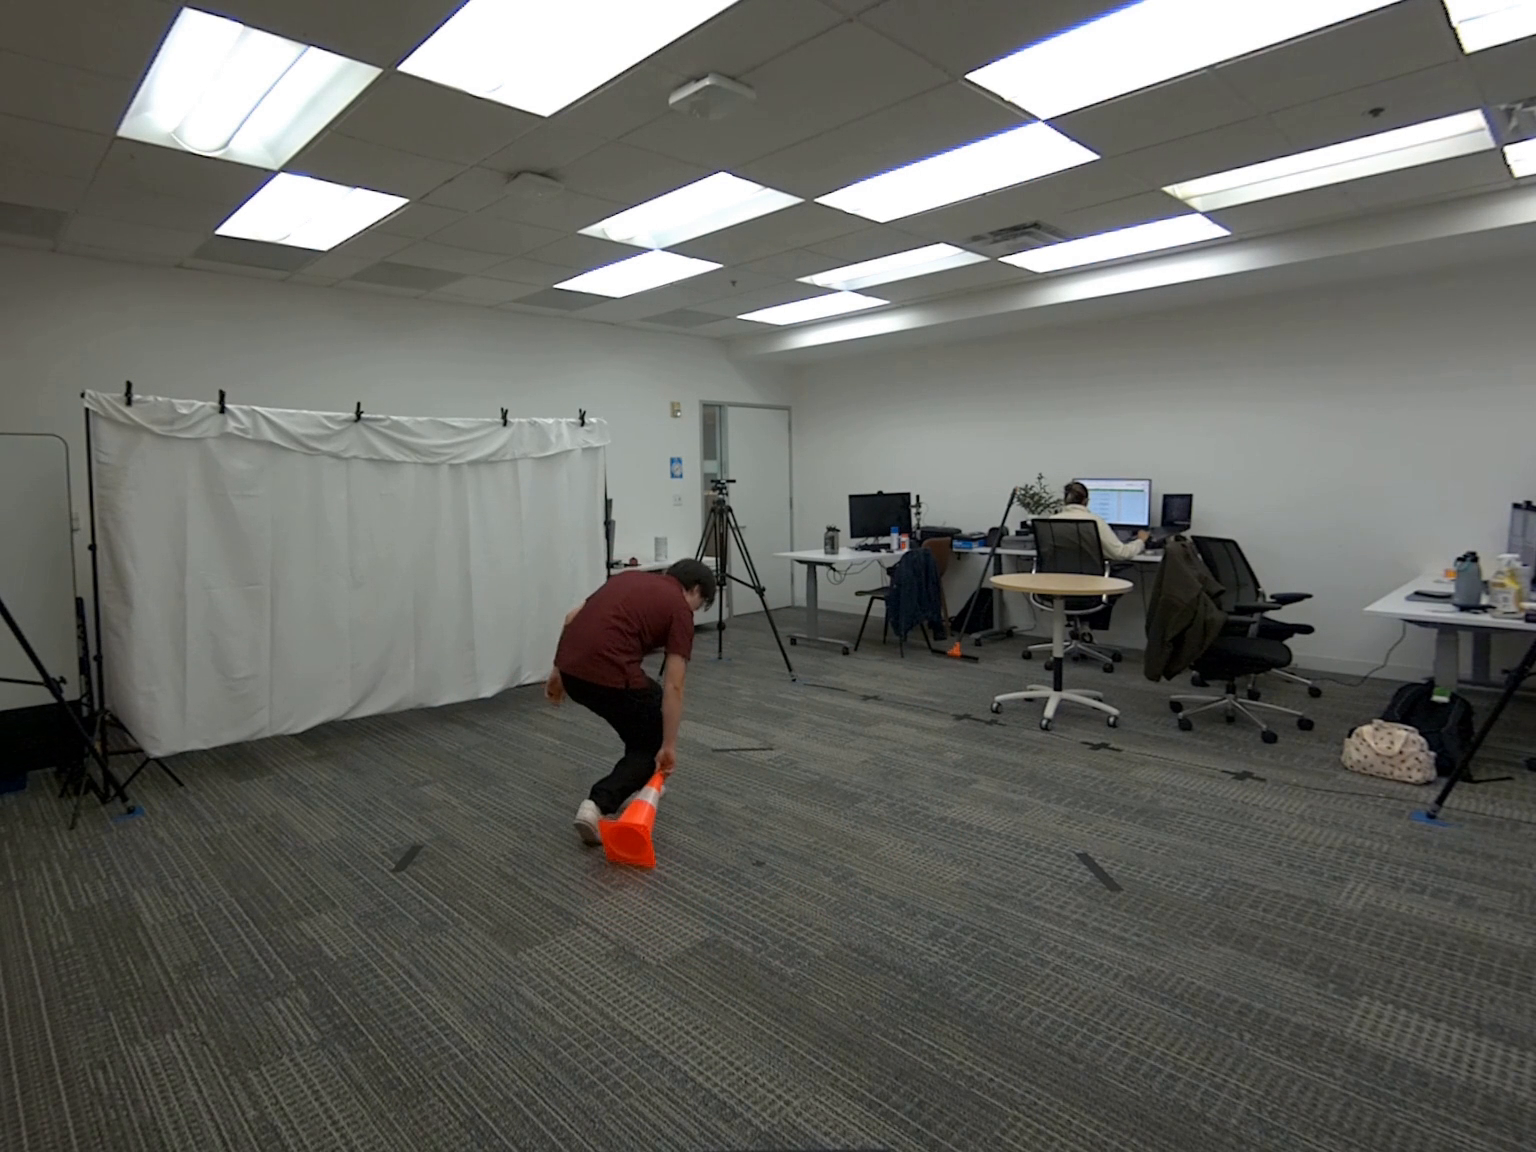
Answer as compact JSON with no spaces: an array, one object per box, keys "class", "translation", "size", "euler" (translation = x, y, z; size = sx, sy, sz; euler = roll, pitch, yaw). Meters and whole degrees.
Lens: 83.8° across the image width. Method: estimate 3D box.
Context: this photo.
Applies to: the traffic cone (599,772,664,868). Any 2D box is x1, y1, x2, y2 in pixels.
[{"class":"traffic cone","translation":[-0.476,0.884,3.257],"size":[0.207,0.198,0.389],"euler":[-16,23,16]}]
